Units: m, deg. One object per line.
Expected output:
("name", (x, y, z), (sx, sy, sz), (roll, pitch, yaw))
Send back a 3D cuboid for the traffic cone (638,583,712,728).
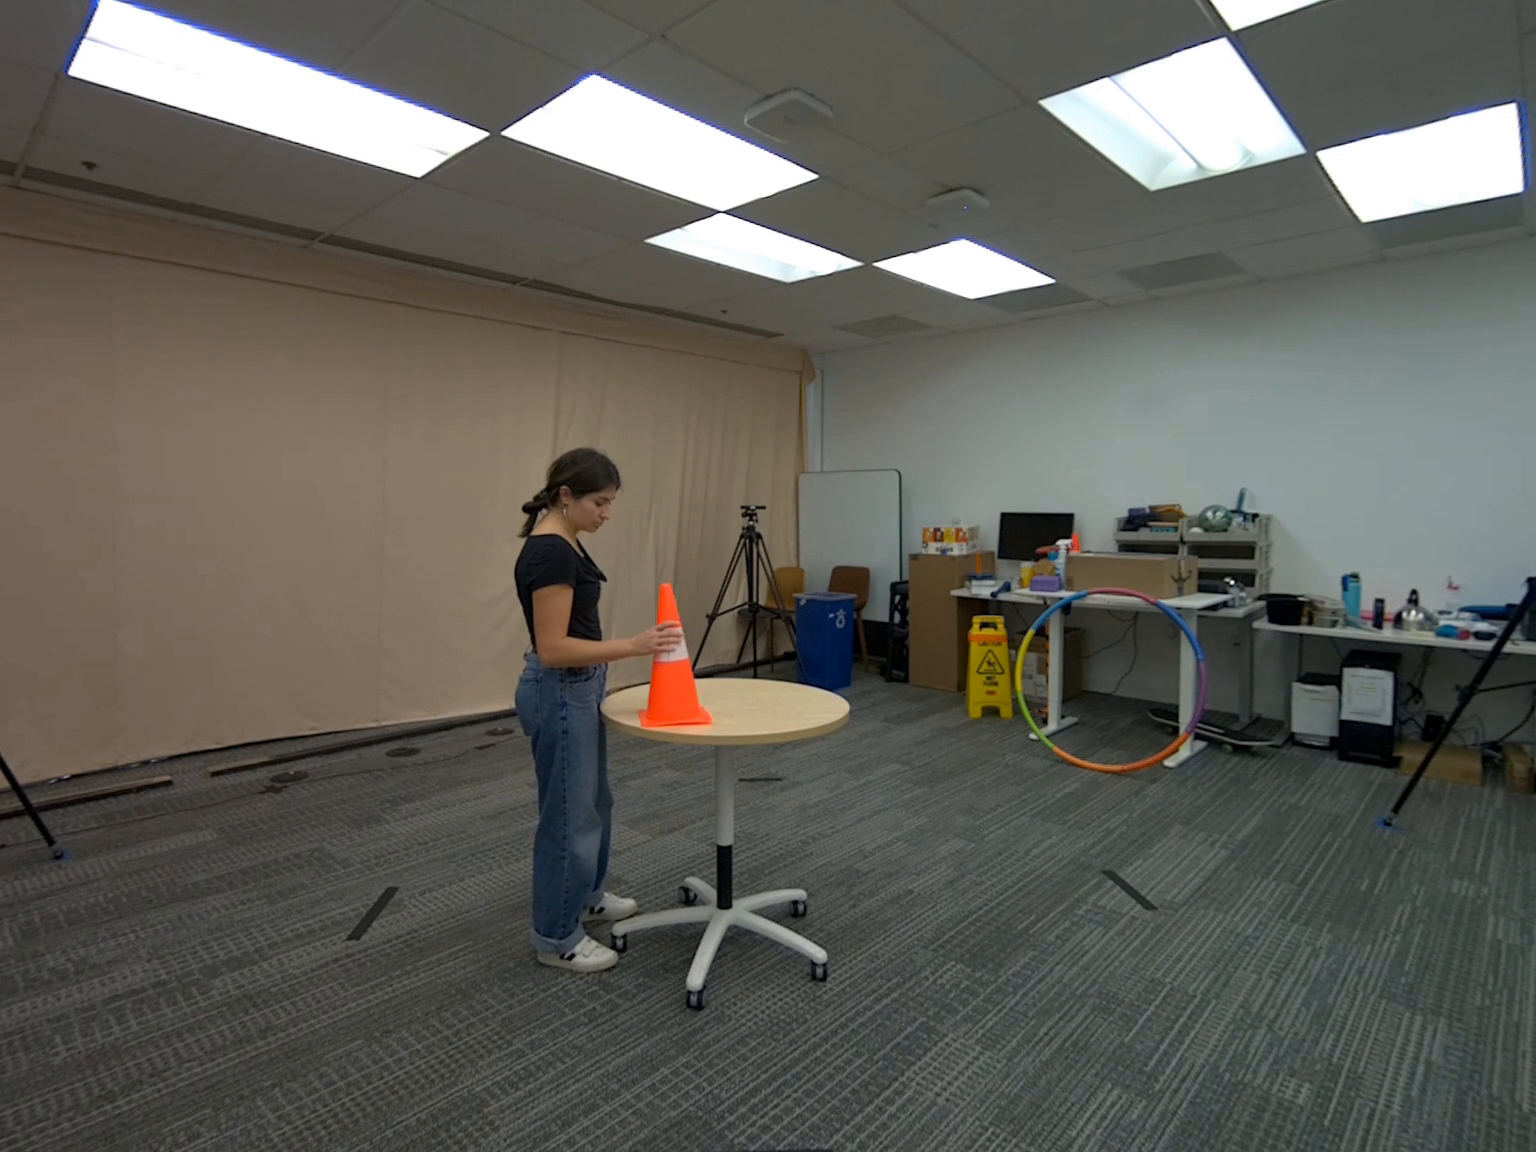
("traffic cone", (-0.286, 0.222, 2.397), (0.202, 0.383, 0.206), (-5, 1, -12))
